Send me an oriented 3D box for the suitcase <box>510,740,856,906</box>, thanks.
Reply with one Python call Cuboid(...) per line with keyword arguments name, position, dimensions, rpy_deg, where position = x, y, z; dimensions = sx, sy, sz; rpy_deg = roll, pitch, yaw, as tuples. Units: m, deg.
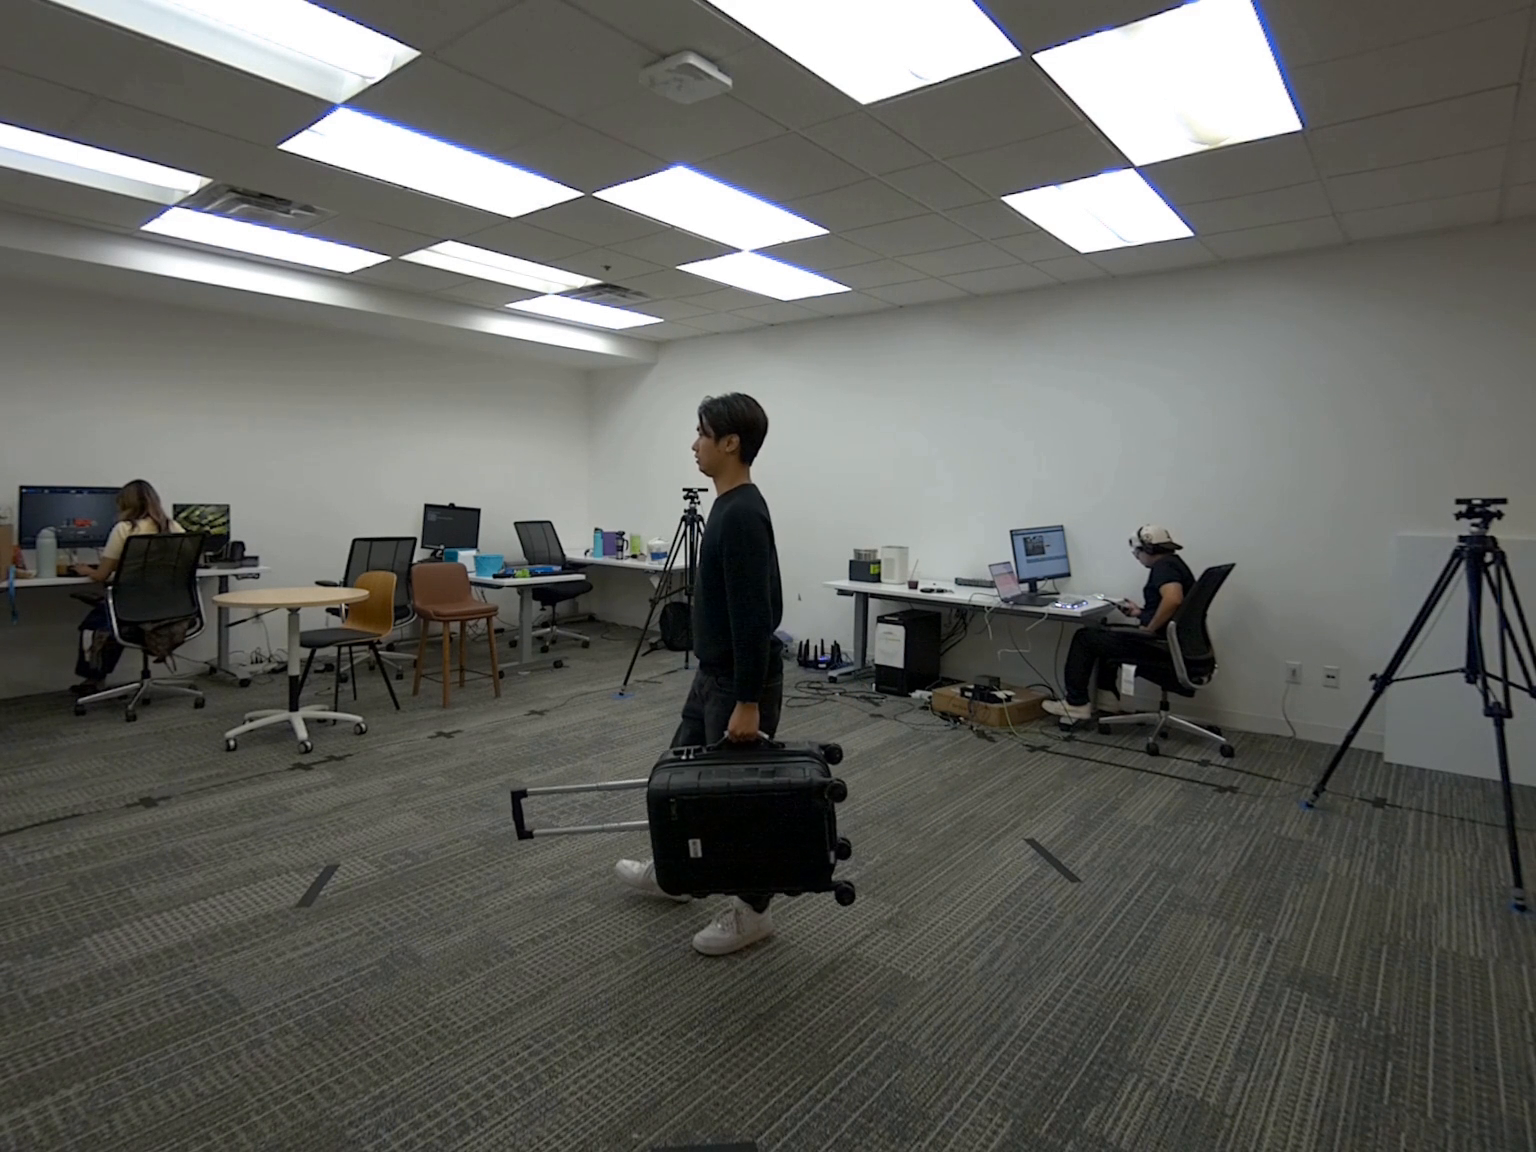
Cuboid(name="suitcase", position=(-0.270, 0.680, 2.359), dimensions=(0.983, 0.380, 0.259), rpy_deg=(-4, 10, 4))
